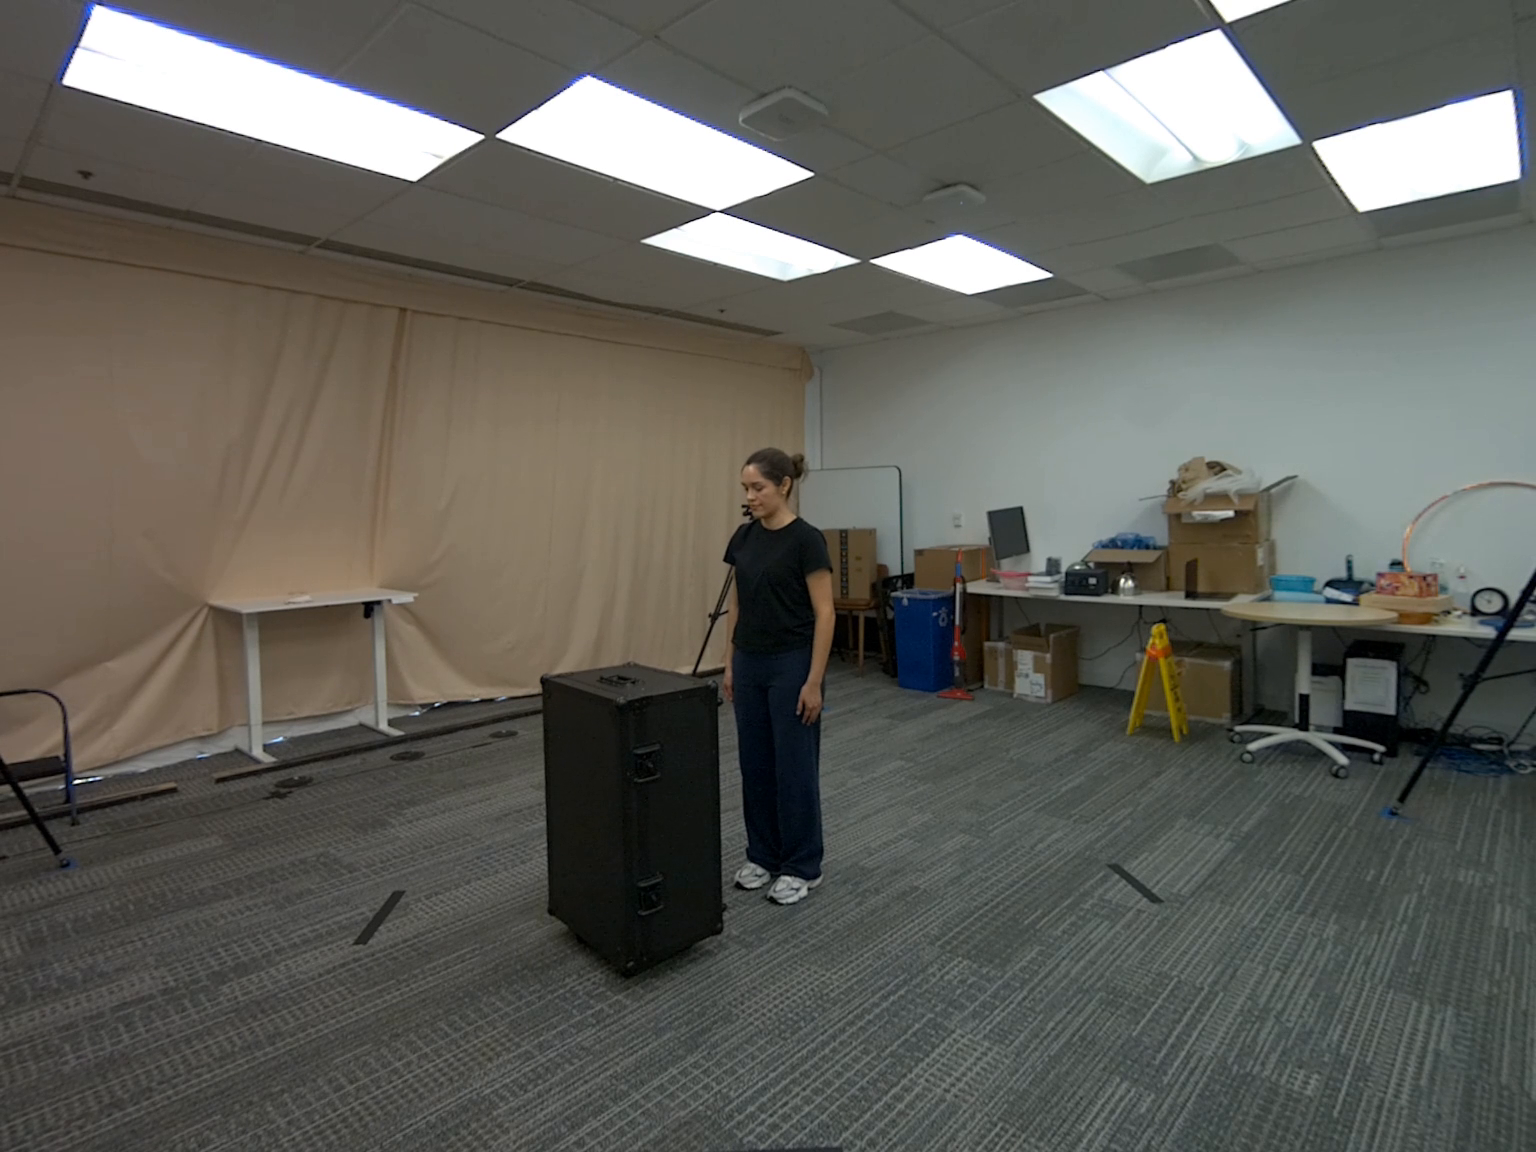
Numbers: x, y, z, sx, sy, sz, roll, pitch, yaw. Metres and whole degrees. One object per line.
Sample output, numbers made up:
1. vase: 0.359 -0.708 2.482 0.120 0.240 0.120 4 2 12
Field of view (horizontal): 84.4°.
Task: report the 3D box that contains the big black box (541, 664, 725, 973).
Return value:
1. big black box: -0.412 0.691 2.667 0.384 0.860 0.538 -4 3 -40
